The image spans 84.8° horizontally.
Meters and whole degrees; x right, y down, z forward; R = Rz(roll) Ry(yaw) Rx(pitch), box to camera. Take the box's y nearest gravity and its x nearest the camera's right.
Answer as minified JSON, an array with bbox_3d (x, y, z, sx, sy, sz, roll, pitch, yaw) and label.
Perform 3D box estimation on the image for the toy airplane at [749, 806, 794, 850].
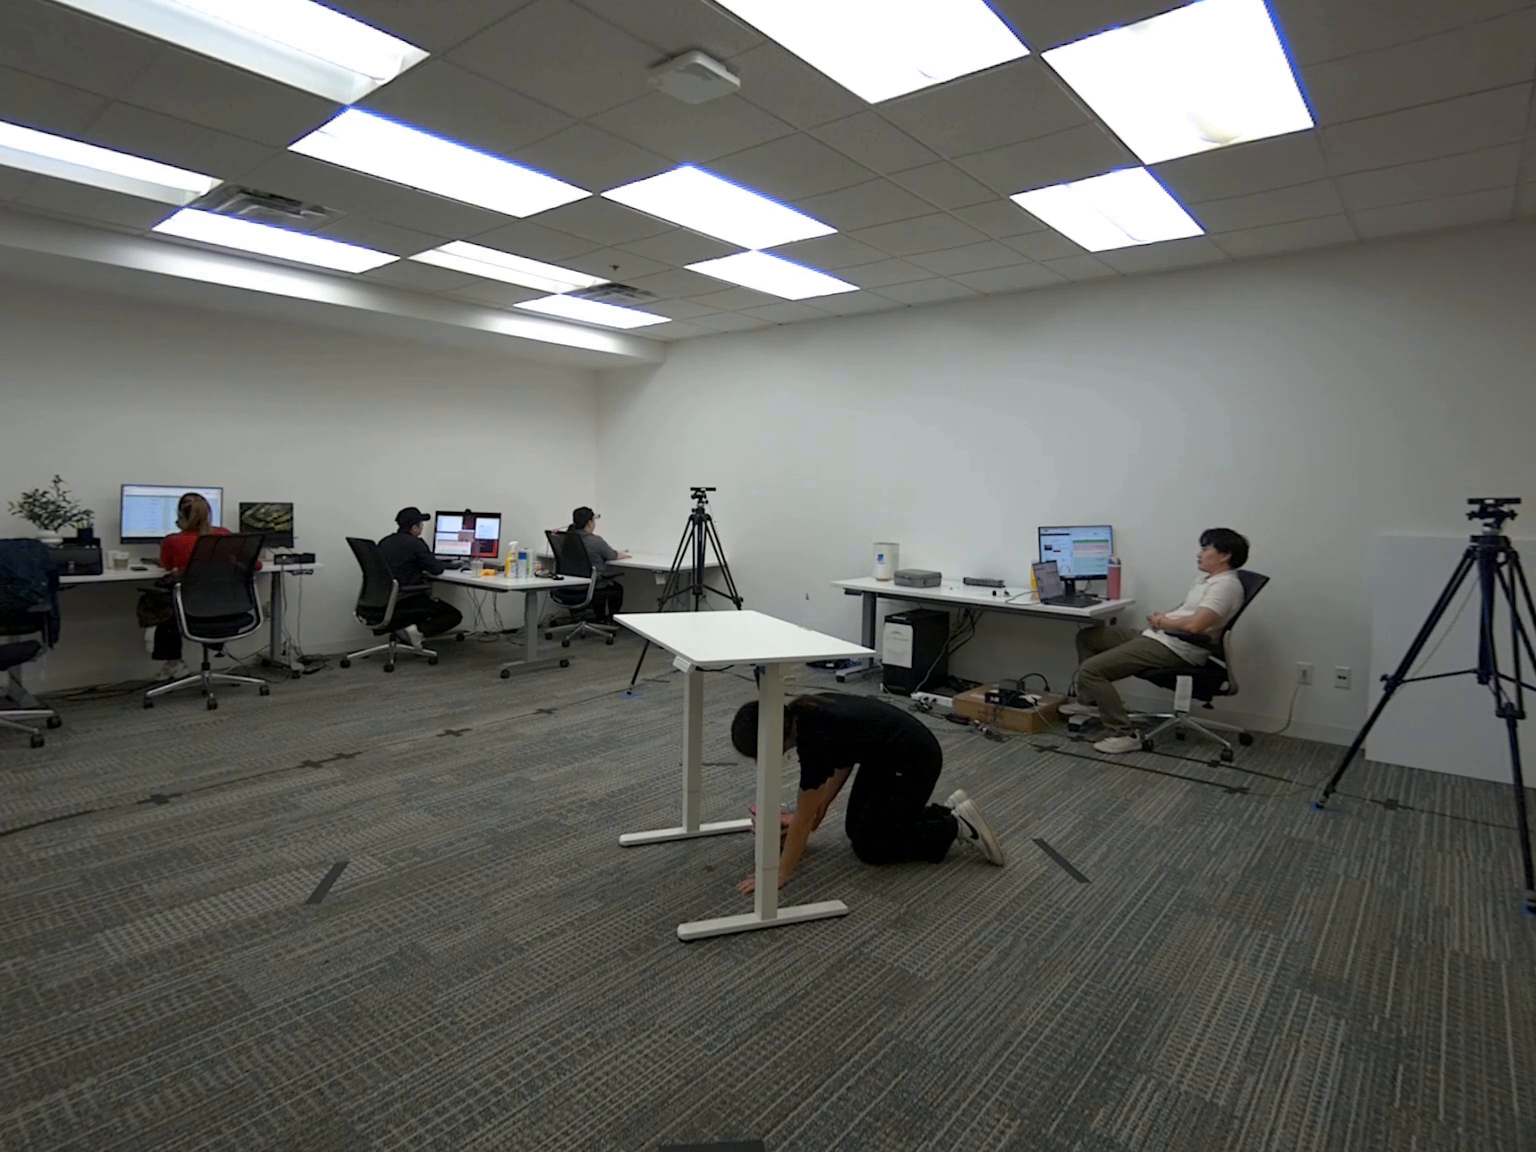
[{"bbox_3d":[0.043,0.952,3.285,0.255,0.153,0.260,-7,19,17],"label":"toy airplane"}]
